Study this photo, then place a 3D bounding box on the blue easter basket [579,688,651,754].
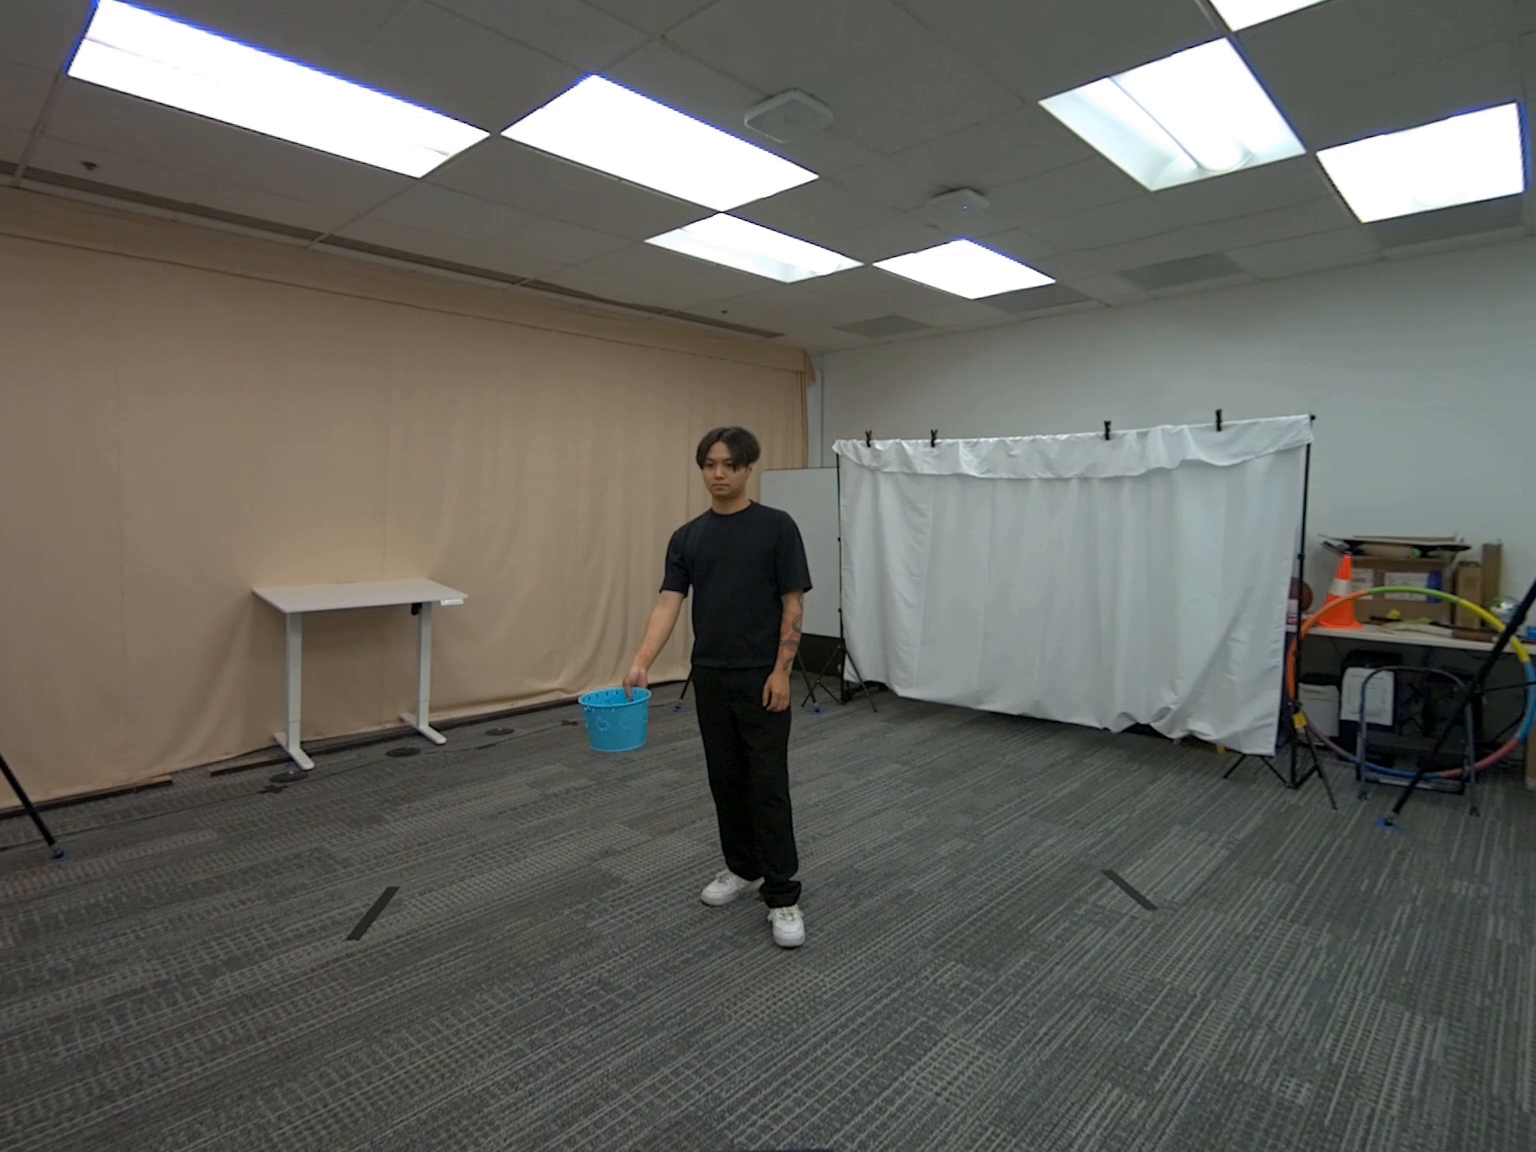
[{"bbox_3d":[-0.491,0.467,2.708,0.243,0.155,0.245,-2,6,-2],"label":"blue easter basket"}]
